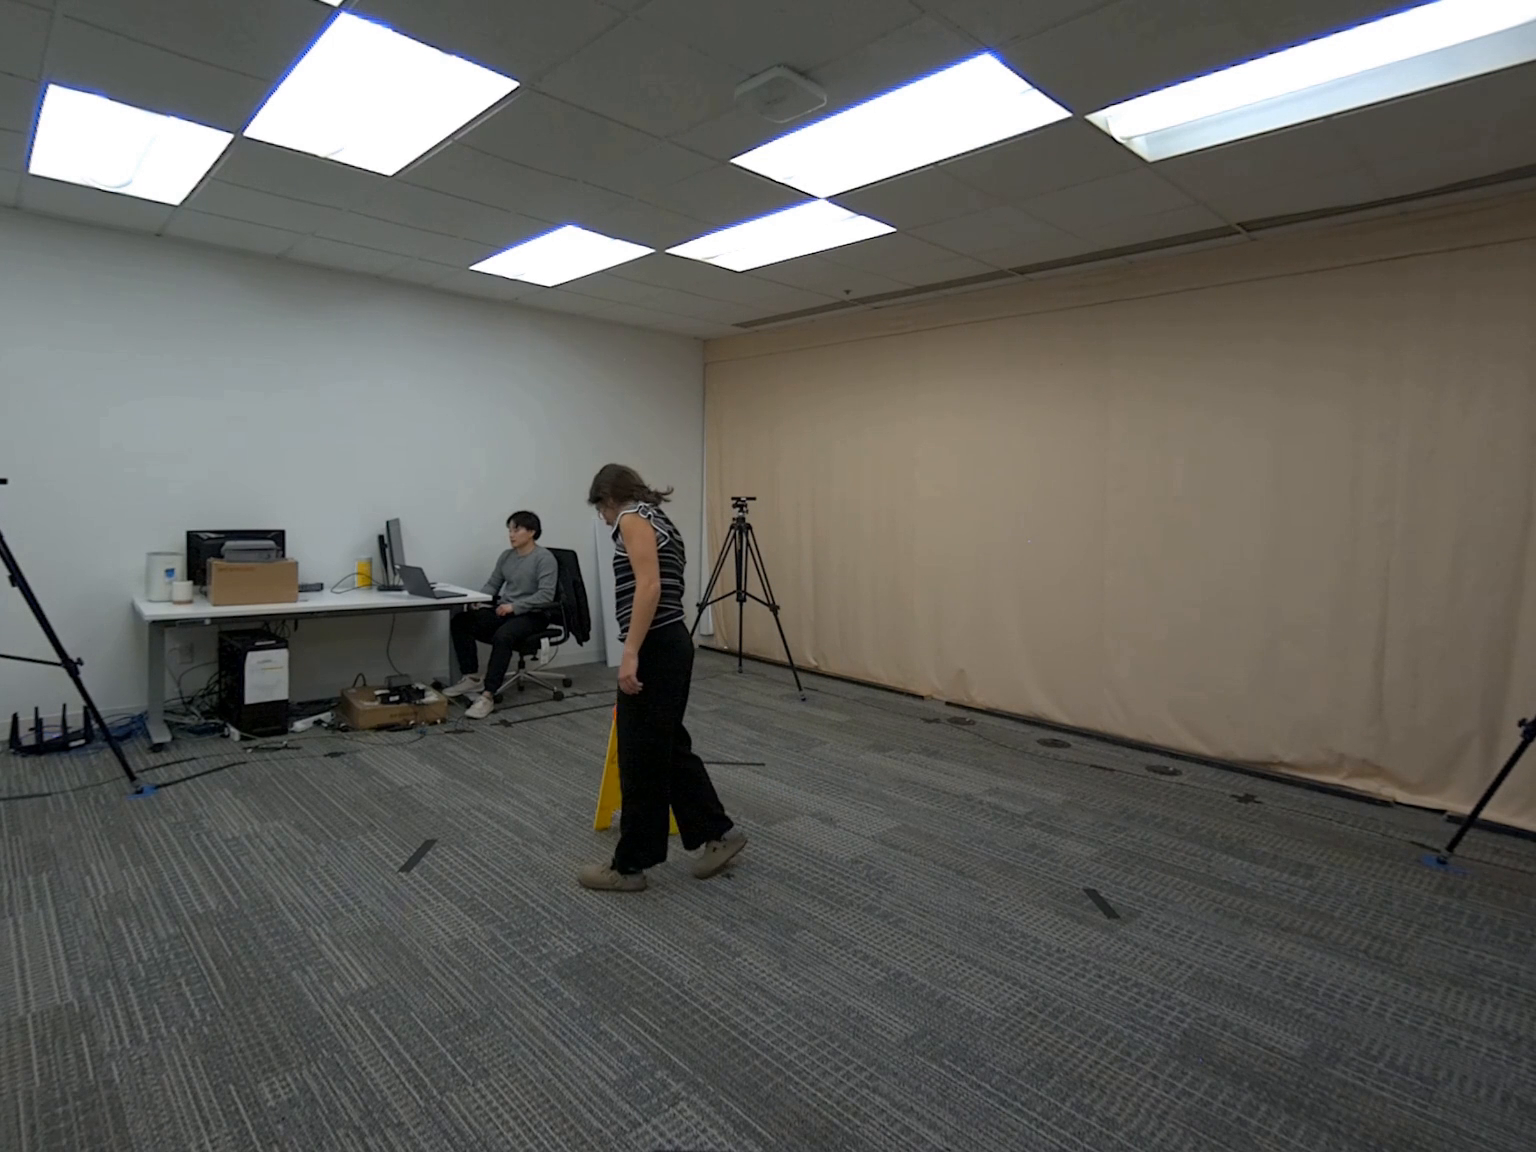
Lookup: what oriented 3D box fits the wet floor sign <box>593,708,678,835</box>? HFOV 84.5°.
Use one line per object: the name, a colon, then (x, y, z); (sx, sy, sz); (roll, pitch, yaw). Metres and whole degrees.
wet floor sign: (-0.536, 0.743, 3.492); (0.297, 0.645, 0.276); (3, 3, 42)
